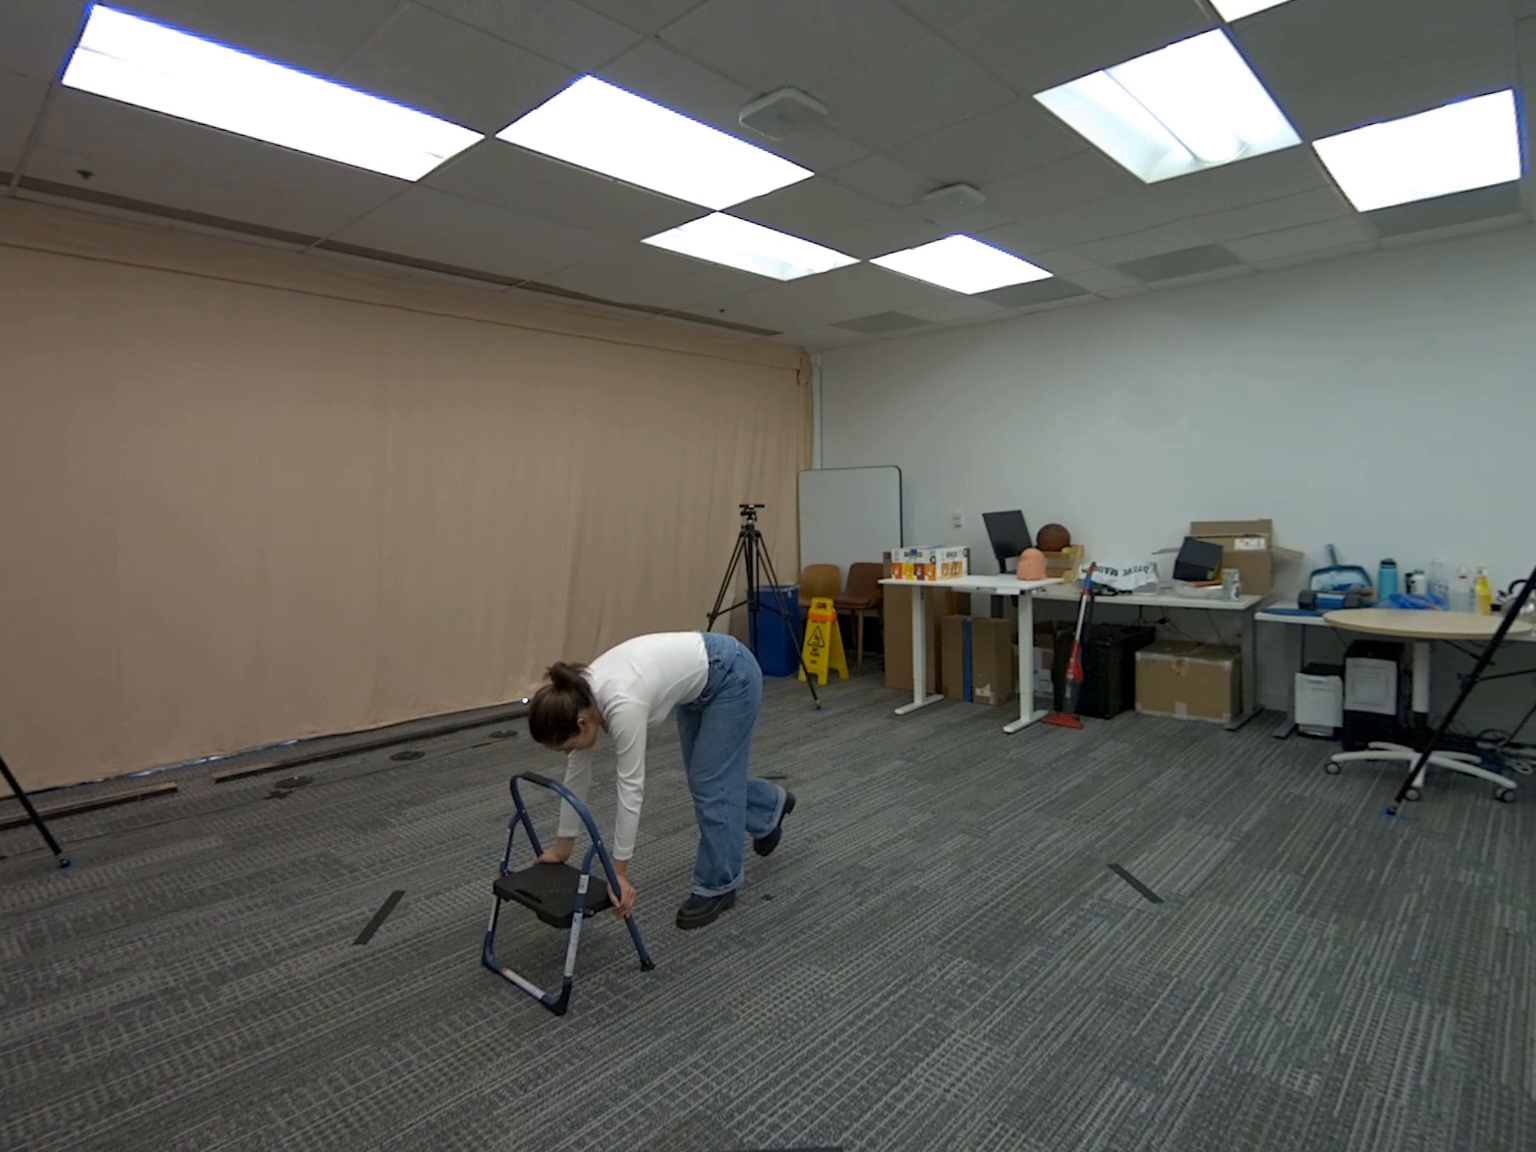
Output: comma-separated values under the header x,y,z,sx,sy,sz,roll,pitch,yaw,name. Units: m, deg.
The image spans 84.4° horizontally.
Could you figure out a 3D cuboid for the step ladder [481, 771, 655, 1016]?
x,y,z,sx,sy,sz,roll,pitch,yaw,name
-0.622,0.890,2.548,0.445,0.605,0.339,2,5,41,step ladder
